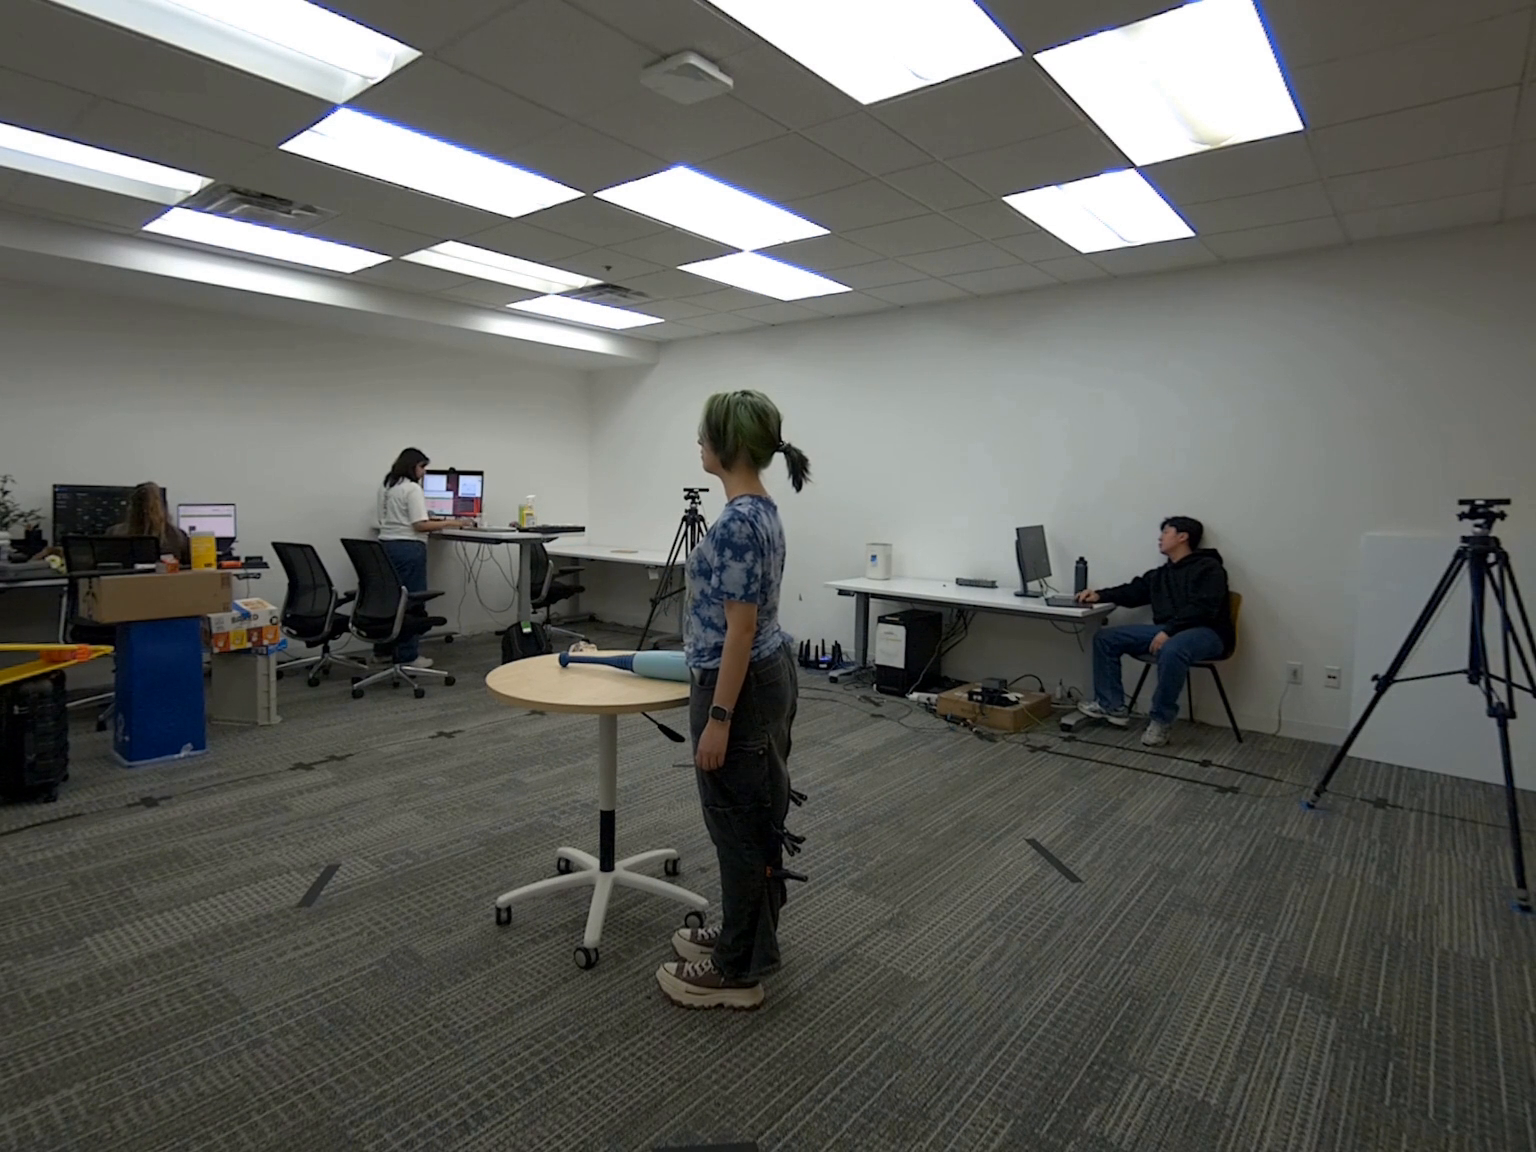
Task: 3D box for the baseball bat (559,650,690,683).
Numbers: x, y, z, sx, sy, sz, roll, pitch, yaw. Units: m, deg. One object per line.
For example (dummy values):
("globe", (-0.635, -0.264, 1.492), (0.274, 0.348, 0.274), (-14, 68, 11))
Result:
("baseball bat", (-0.456, 0.283, 2.738), (0.555, 0.089, 0.087), (0, 3, 21))
